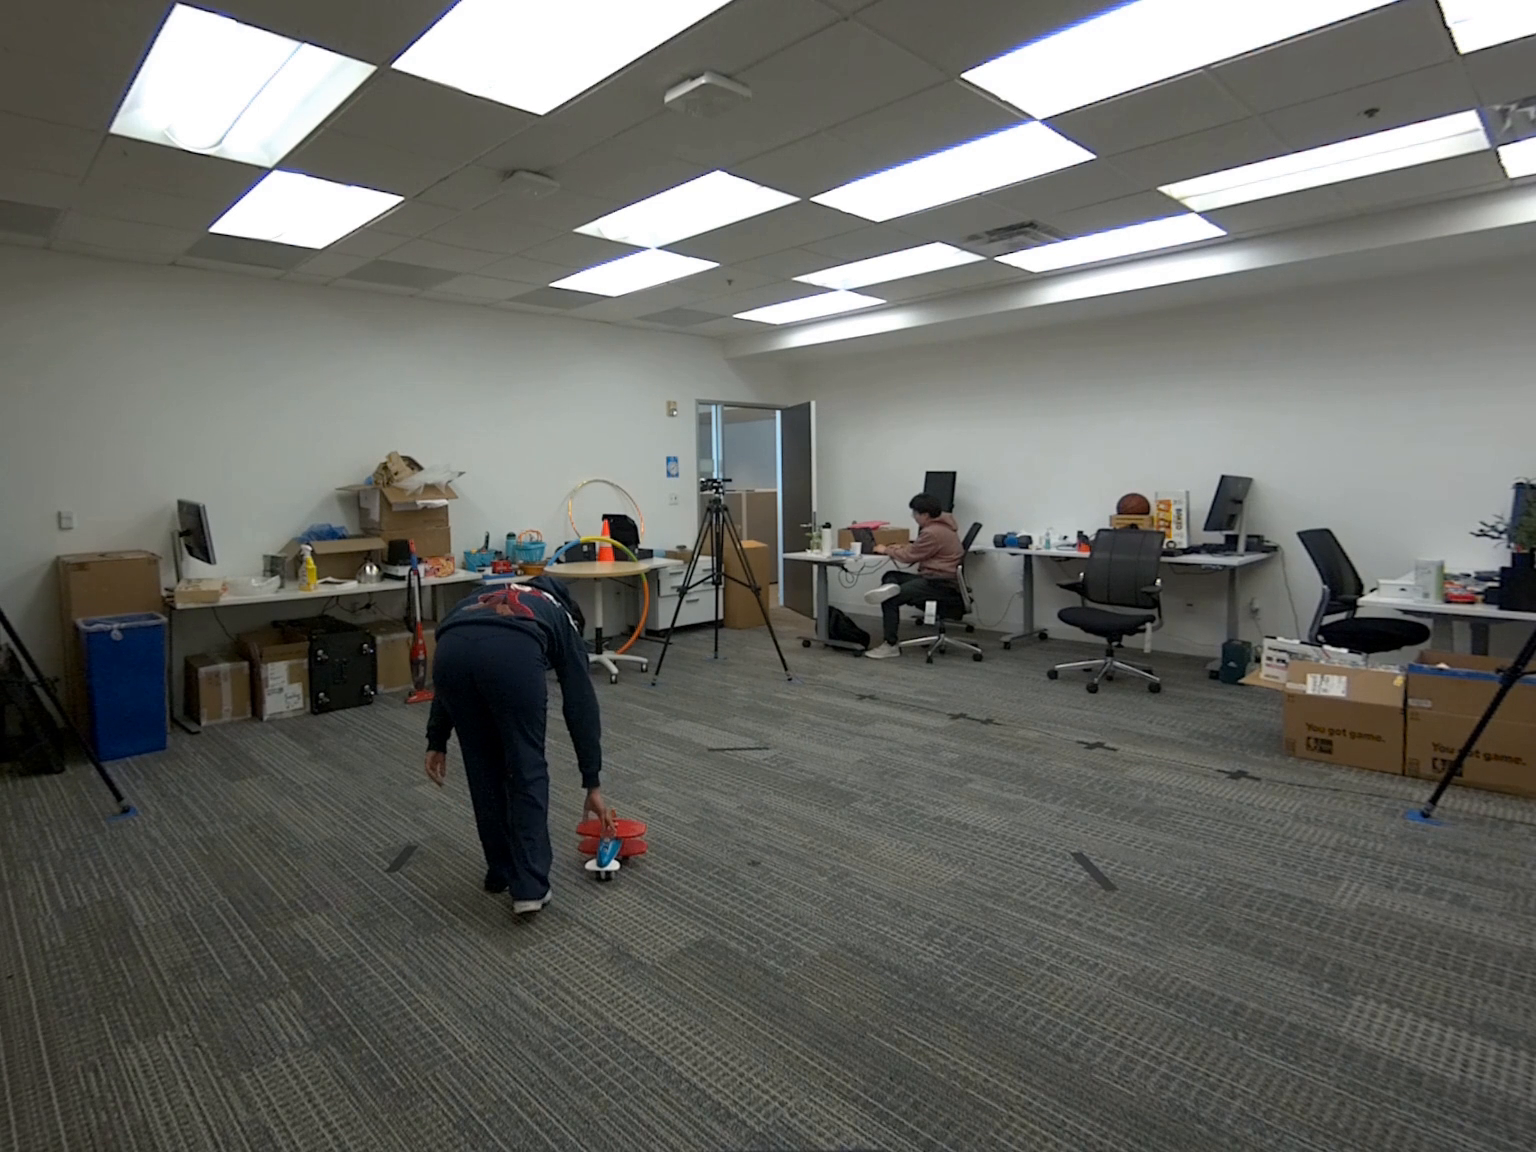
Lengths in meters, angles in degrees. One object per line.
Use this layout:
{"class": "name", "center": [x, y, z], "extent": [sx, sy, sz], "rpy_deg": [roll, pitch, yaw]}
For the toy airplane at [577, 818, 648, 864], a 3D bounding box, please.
{"class": "toy airplane", "center": [-0.549, 0.981, 3.084], "extent": [0.246, 0.155, 0.265], "rpy_deg": [-4, 7, -23]}
